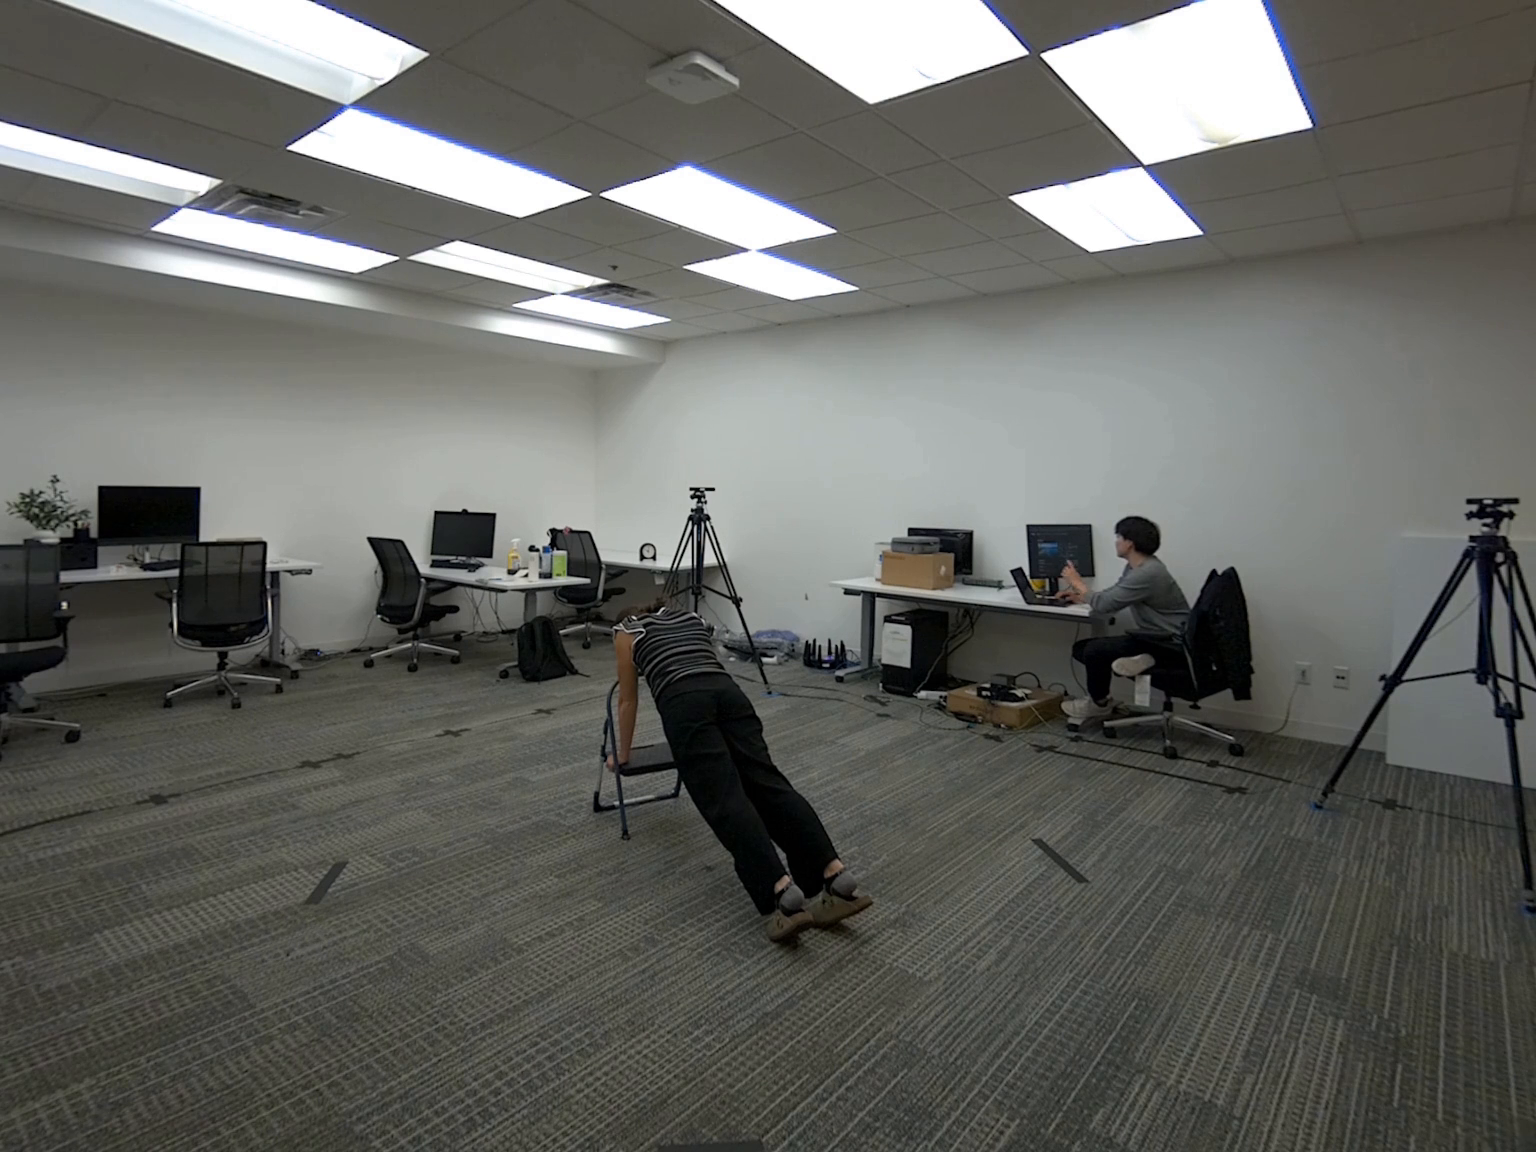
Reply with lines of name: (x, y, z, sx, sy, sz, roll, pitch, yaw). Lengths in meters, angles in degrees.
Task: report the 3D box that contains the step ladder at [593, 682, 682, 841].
step ladder: (-0.495, 0.715, 3.594, 0.418, 0.605, 0.360, -1, 3, -33)
